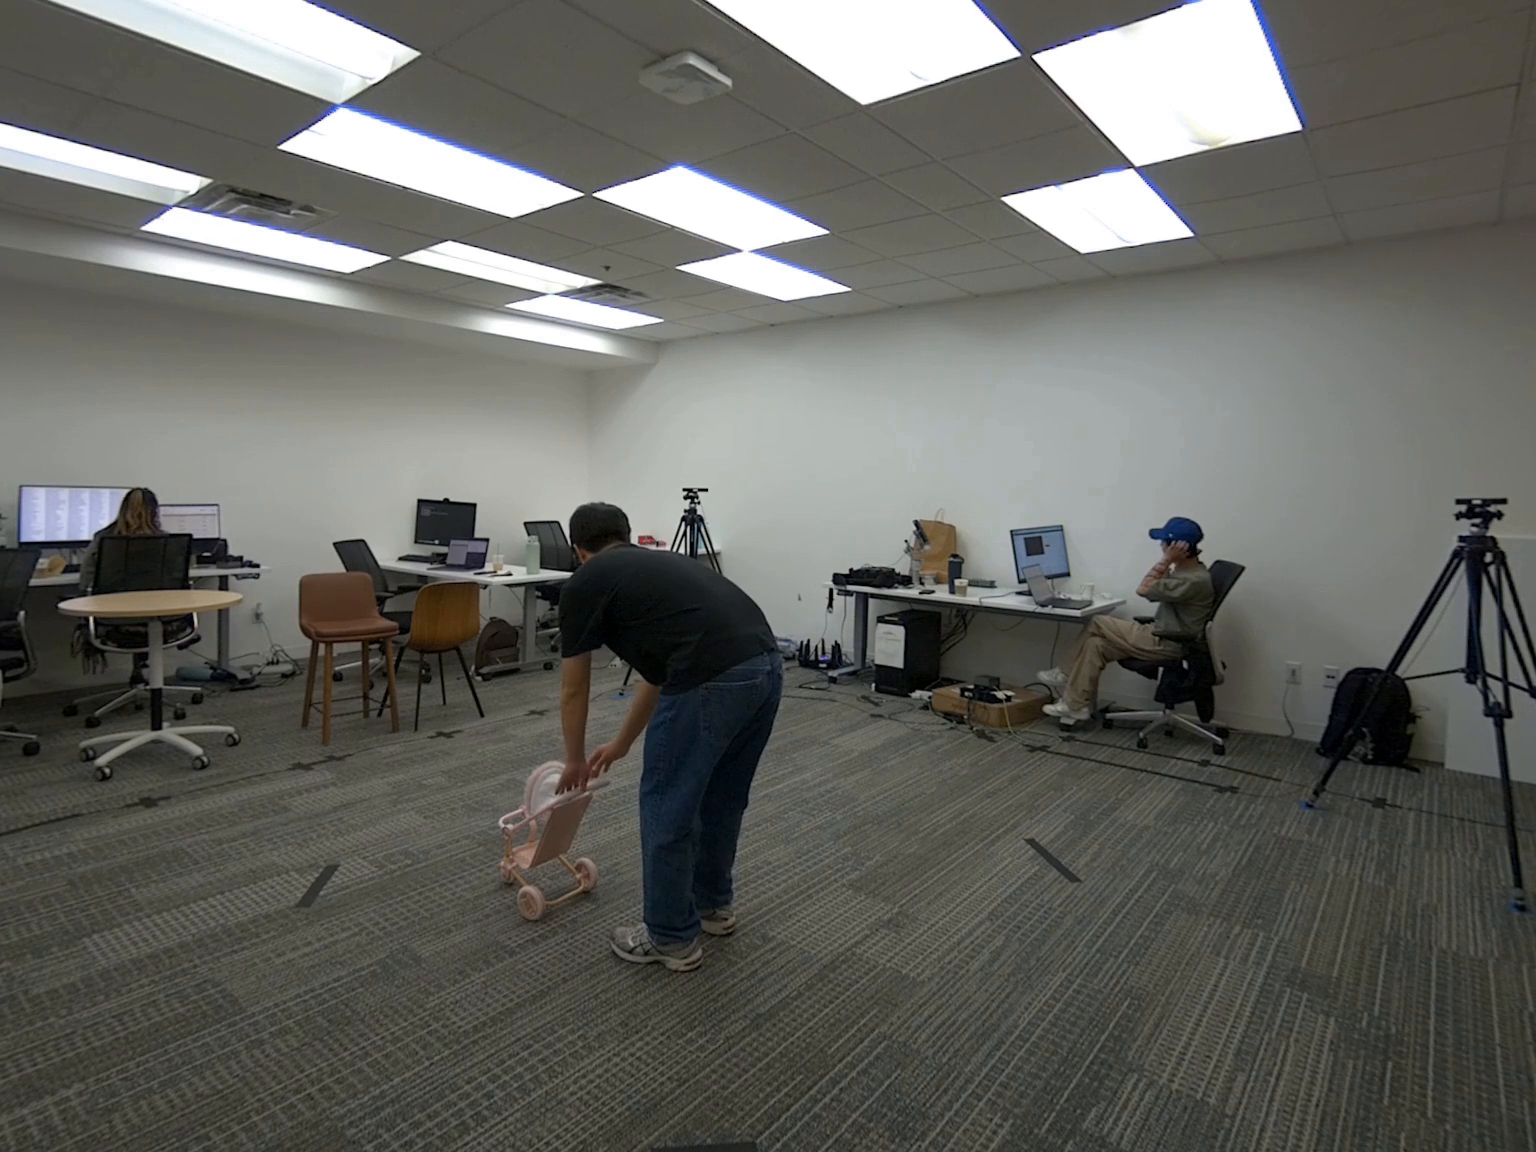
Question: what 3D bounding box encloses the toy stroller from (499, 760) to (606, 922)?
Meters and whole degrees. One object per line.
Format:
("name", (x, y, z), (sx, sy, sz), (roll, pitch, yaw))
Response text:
("toy stroller", (-0.756, 0.858, 2.857), (0.355, 0.530, 0.273), (22, 15, 36))
